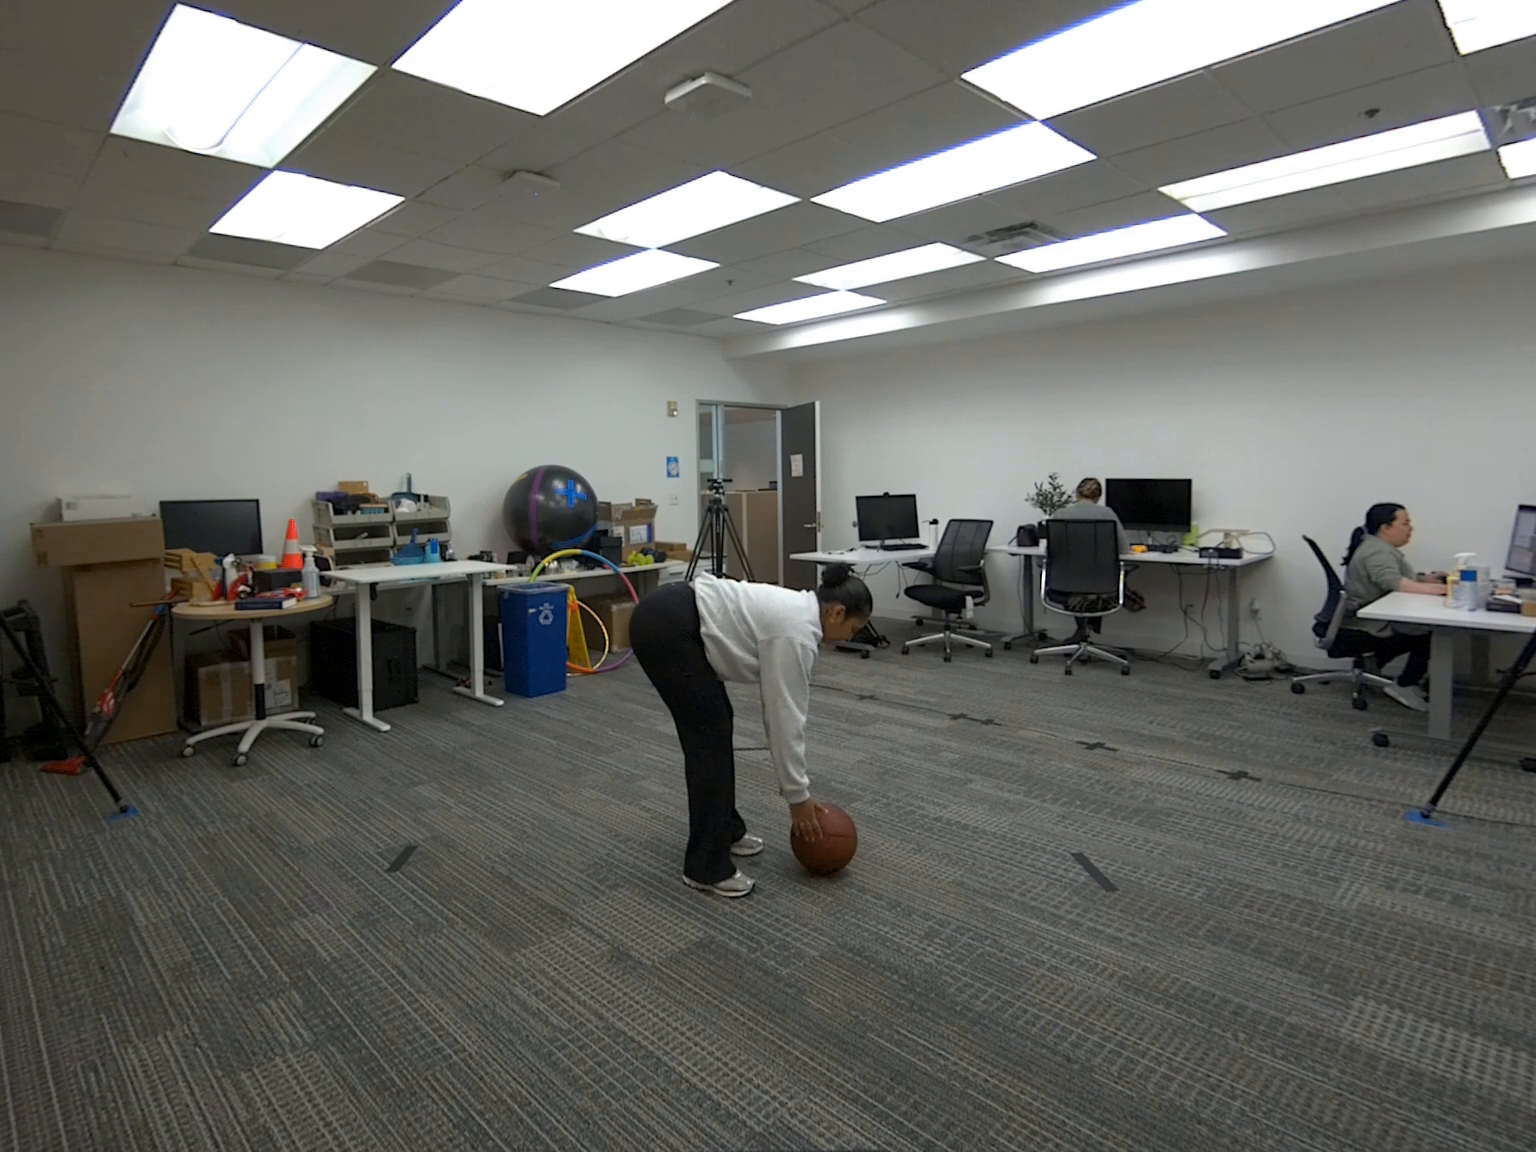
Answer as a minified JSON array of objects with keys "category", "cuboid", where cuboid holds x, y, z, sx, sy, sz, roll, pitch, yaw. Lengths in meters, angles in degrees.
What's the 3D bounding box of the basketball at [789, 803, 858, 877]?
[{"category":"basketball","cuboid":[0.198,0.920,3.033,0.236,0.235,0.237,-1,5,-2]}]
